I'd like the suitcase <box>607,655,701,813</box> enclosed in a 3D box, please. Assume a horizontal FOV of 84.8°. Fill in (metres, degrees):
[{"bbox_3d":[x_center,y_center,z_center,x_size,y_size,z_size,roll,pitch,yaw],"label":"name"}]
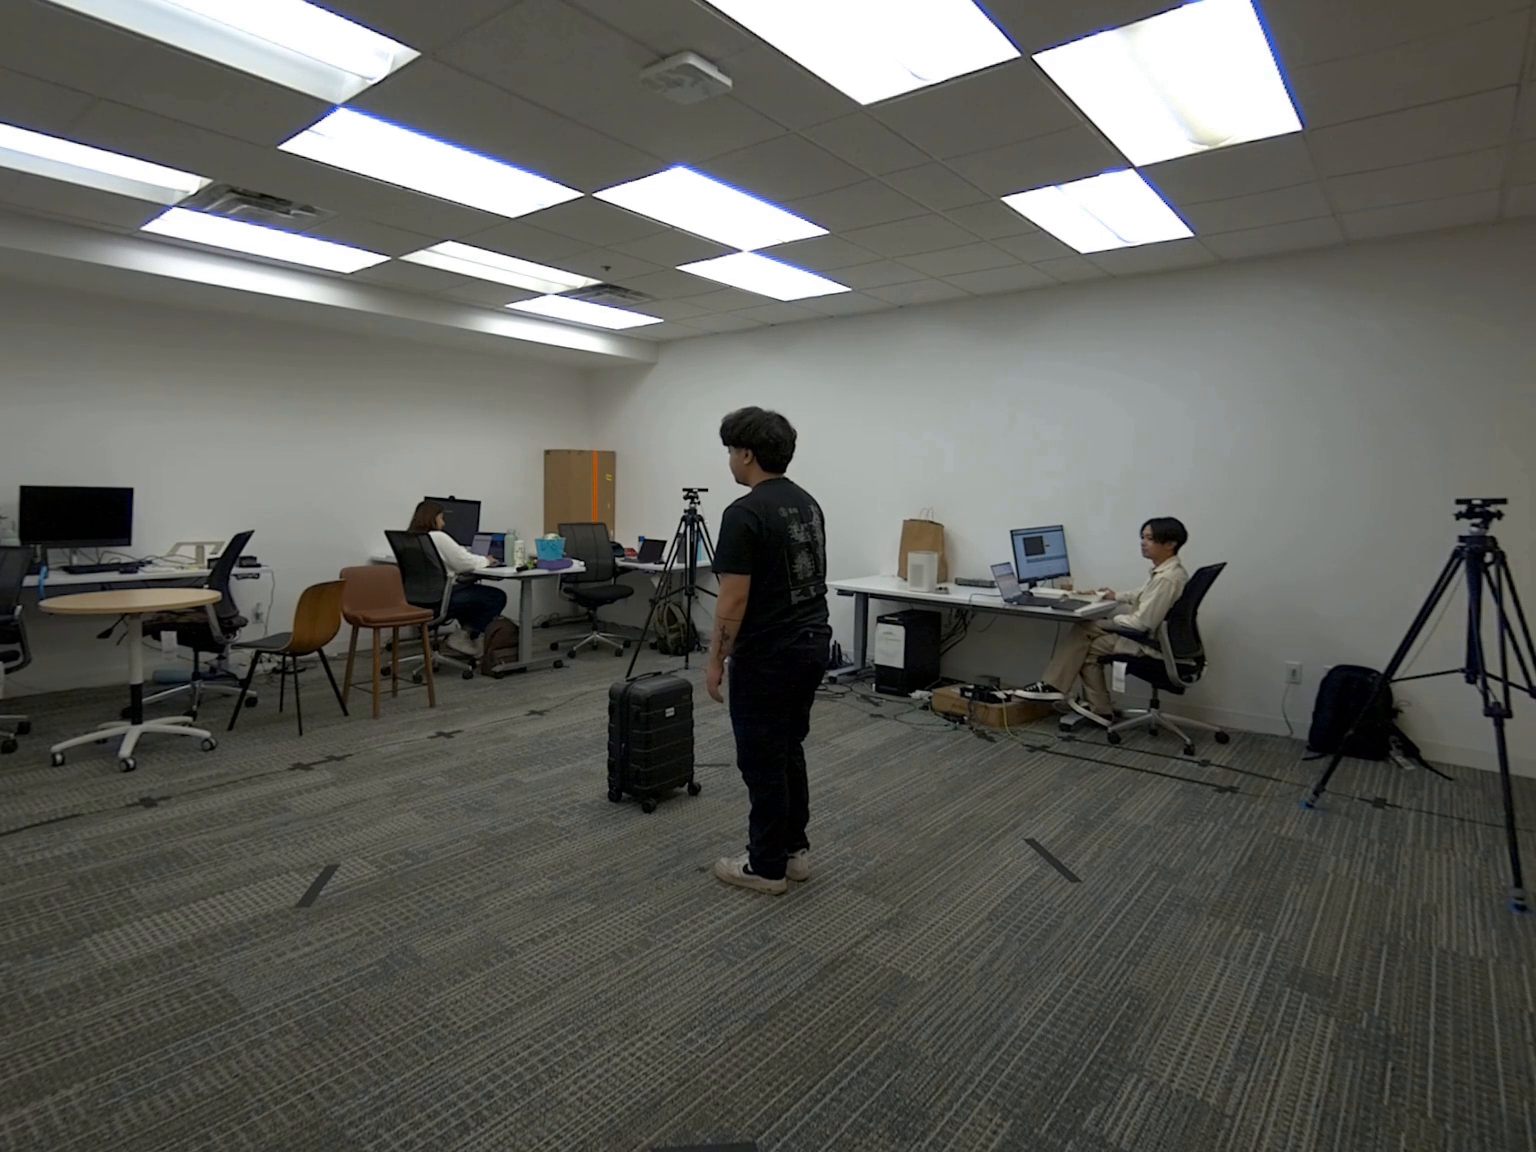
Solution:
[{"bbox_3d":[-0.533,0.717,3.833,0.256,0.548,0.364,2,3,38],"label":"suitcase"}]
